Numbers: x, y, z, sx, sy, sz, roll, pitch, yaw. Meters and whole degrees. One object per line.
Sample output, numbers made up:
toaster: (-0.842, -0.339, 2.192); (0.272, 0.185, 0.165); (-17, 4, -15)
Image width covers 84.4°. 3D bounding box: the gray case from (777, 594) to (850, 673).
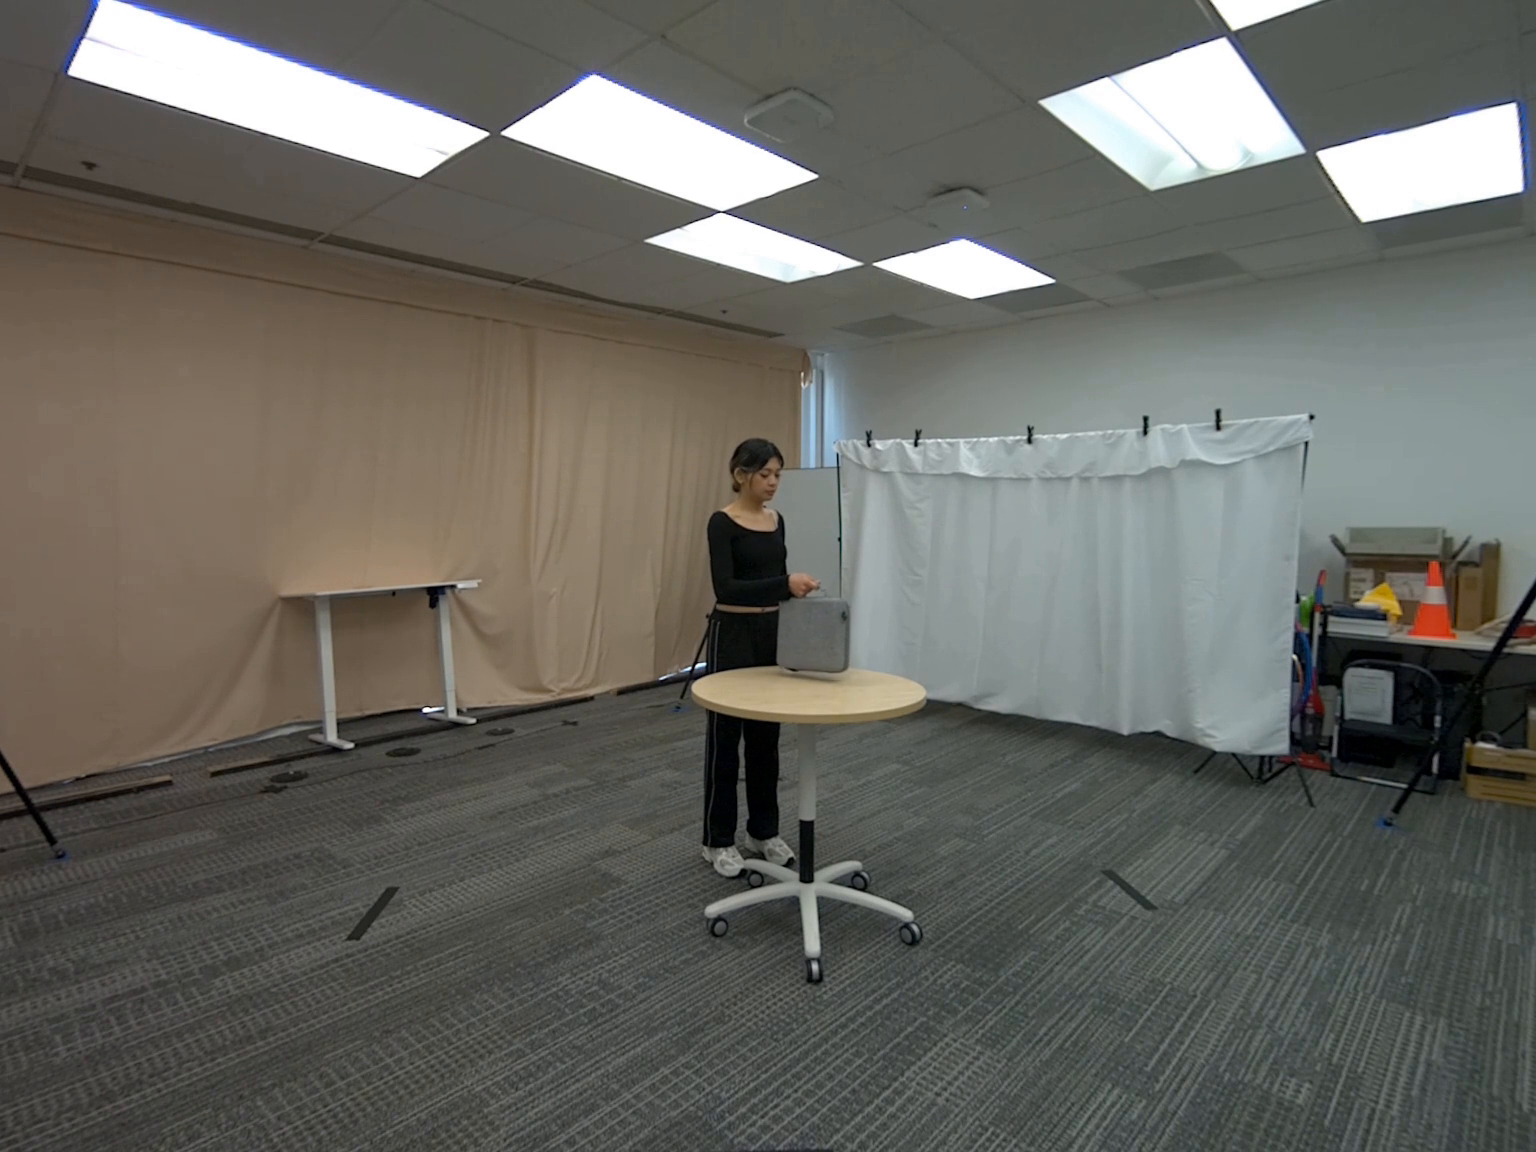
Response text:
gray case: (0.168, 0.198, 2.934); (0.265, 0.261, 0.101); (-3, -8, 38)
